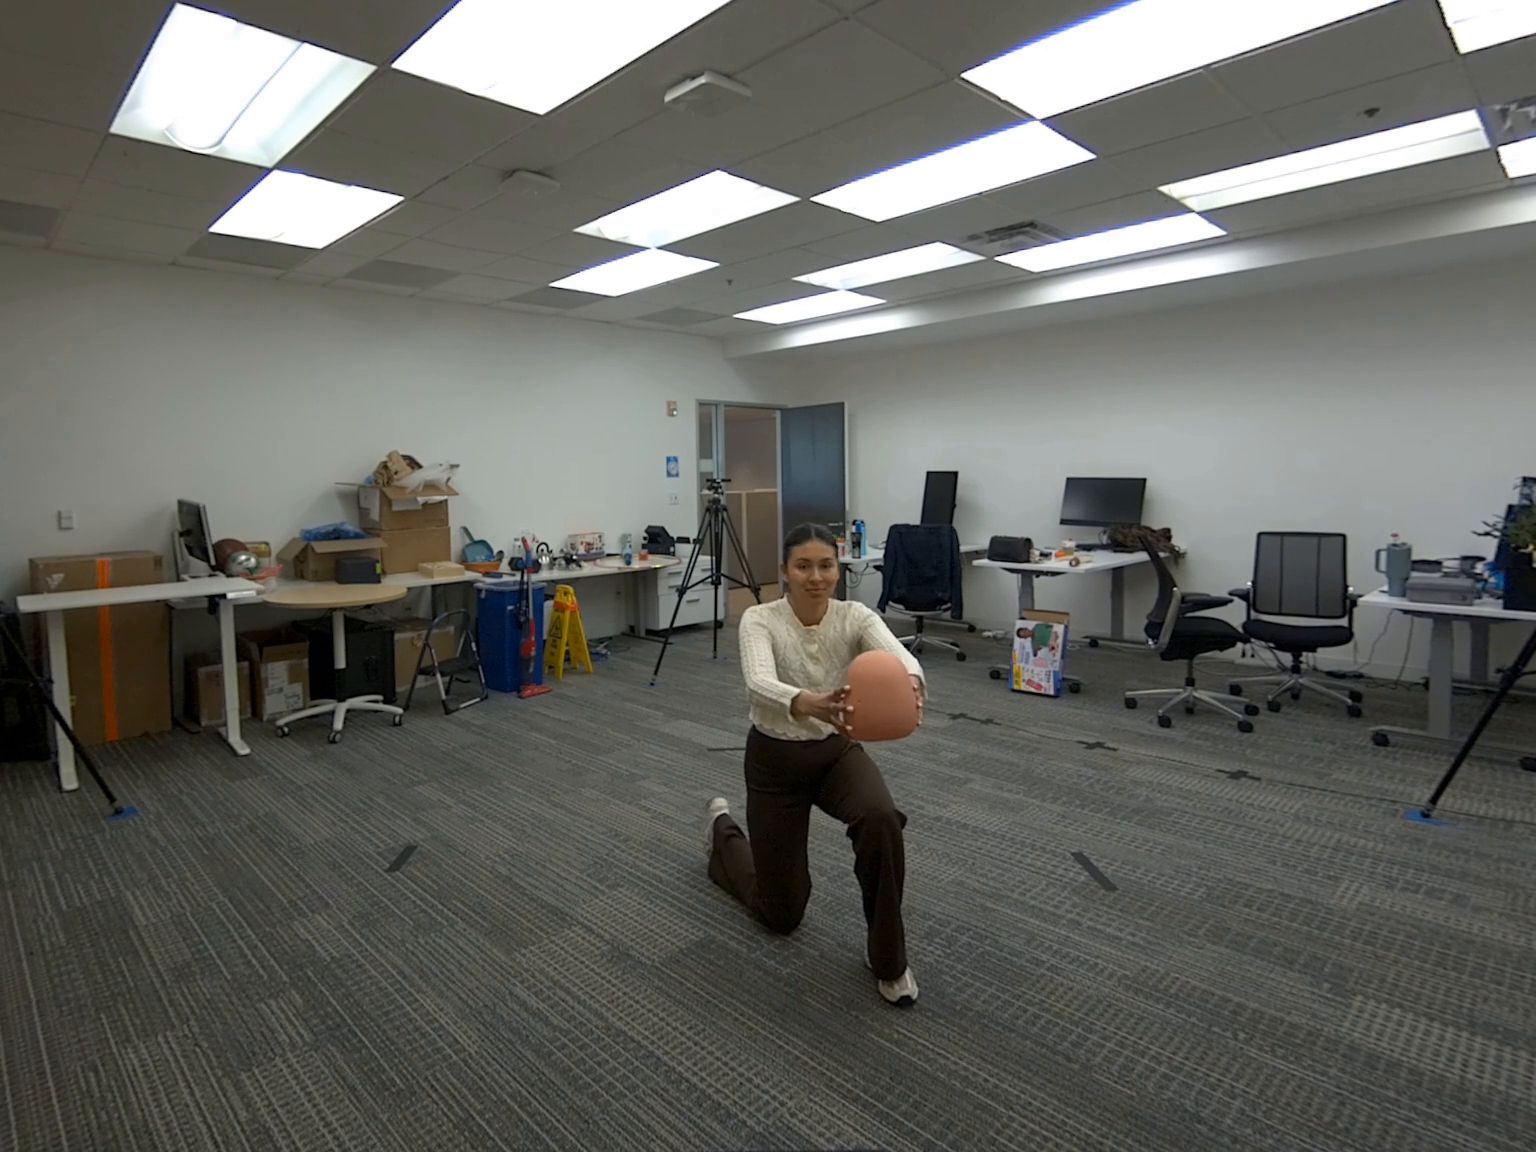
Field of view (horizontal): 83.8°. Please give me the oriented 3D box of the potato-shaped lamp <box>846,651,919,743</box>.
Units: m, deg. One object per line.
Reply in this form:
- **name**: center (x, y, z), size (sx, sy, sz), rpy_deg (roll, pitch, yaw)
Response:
- **potato-shaped lamp**: center (0.259, 0.268, 1.897), size (0.164, 0.200, 0.170), rpy_deg (-5, -9, -5)
